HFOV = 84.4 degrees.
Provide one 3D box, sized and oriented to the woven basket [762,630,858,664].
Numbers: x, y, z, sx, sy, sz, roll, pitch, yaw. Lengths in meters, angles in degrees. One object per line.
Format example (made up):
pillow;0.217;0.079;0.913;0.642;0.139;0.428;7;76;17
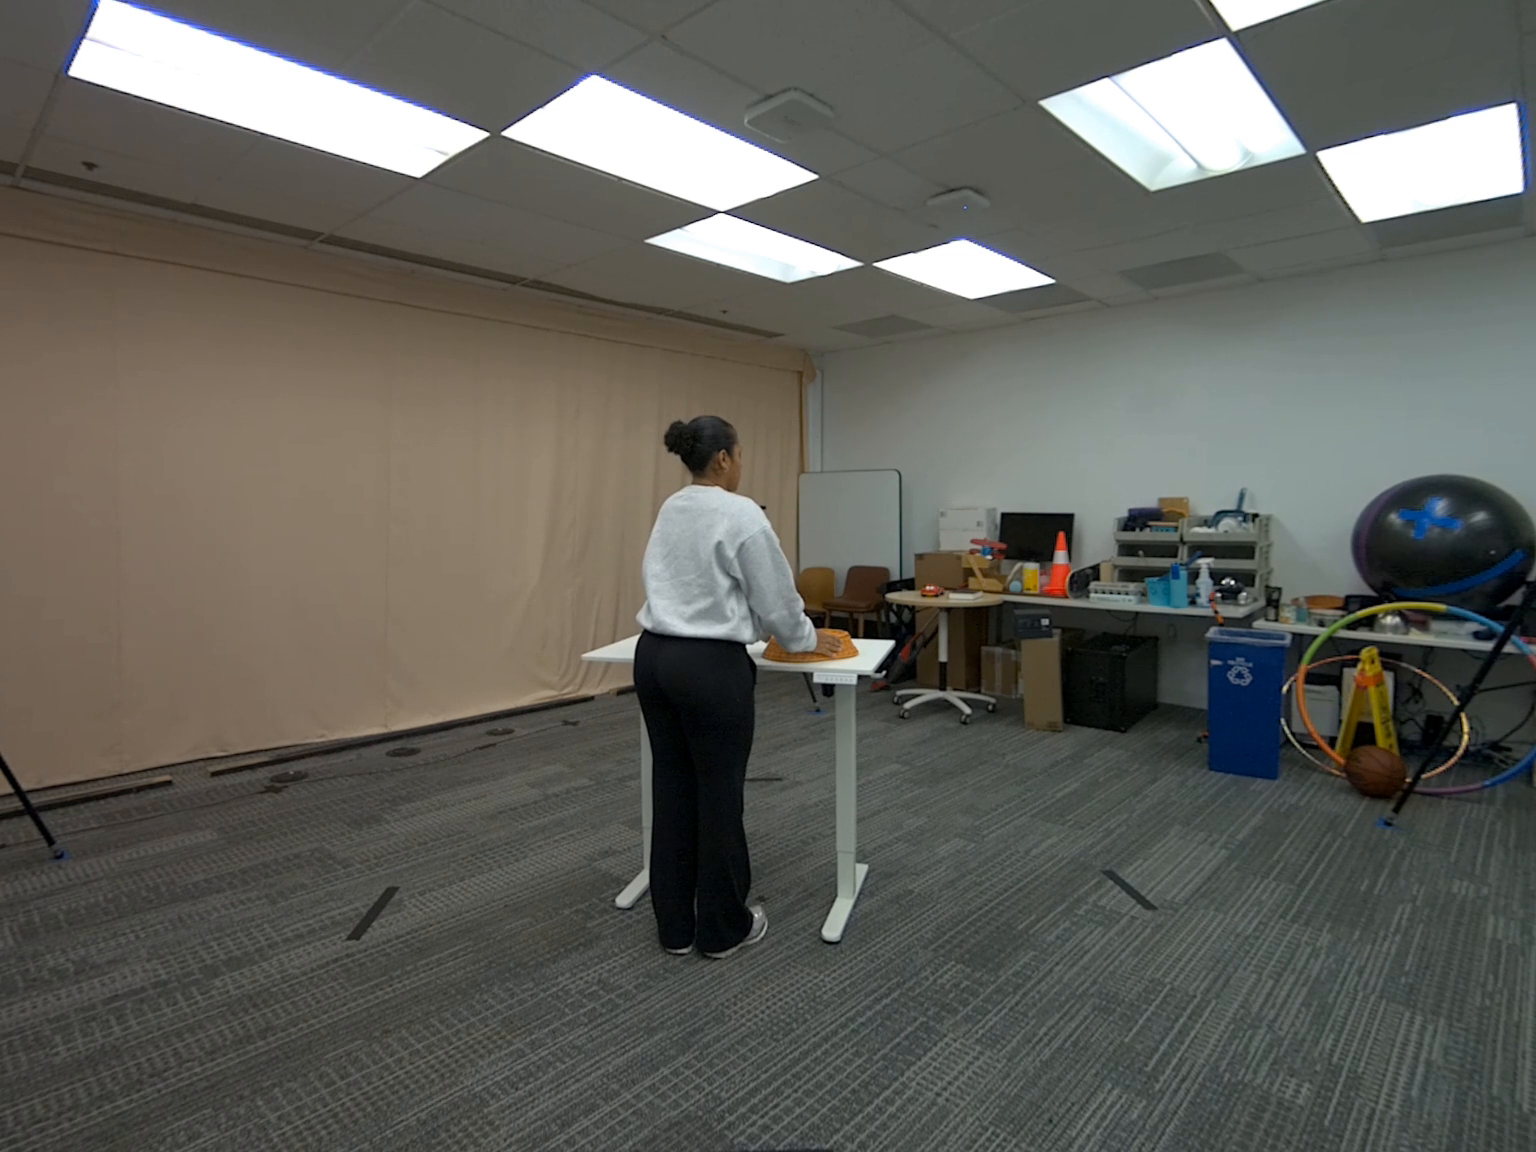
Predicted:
woven basket;0.148;0.235;2.862;0.342;0.073;0.259;-3;5;-24
